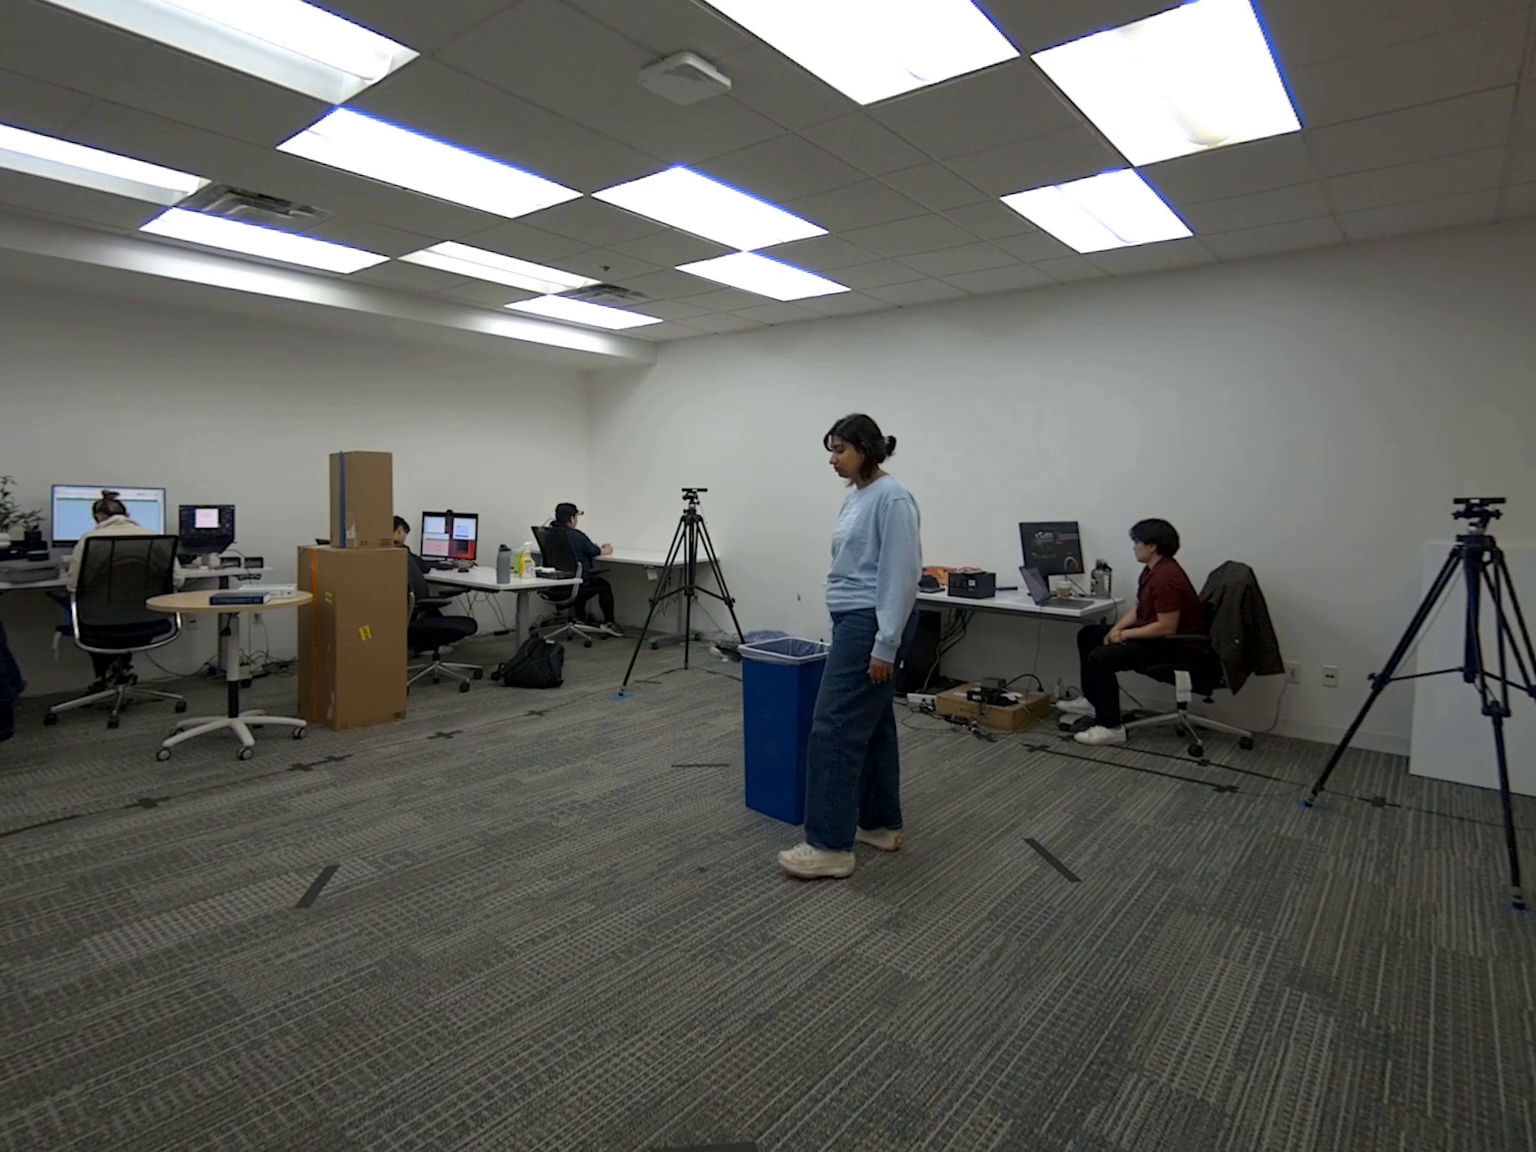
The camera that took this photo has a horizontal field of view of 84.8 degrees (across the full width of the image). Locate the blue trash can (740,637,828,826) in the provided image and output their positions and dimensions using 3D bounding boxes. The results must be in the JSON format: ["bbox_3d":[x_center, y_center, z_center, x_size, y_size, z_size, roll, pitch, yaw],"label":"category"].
[{"bbox_3d":[0.091,0.659,3.726,0.387,0.711,0.367,4,5,43],"label":"blue trash can"}]
